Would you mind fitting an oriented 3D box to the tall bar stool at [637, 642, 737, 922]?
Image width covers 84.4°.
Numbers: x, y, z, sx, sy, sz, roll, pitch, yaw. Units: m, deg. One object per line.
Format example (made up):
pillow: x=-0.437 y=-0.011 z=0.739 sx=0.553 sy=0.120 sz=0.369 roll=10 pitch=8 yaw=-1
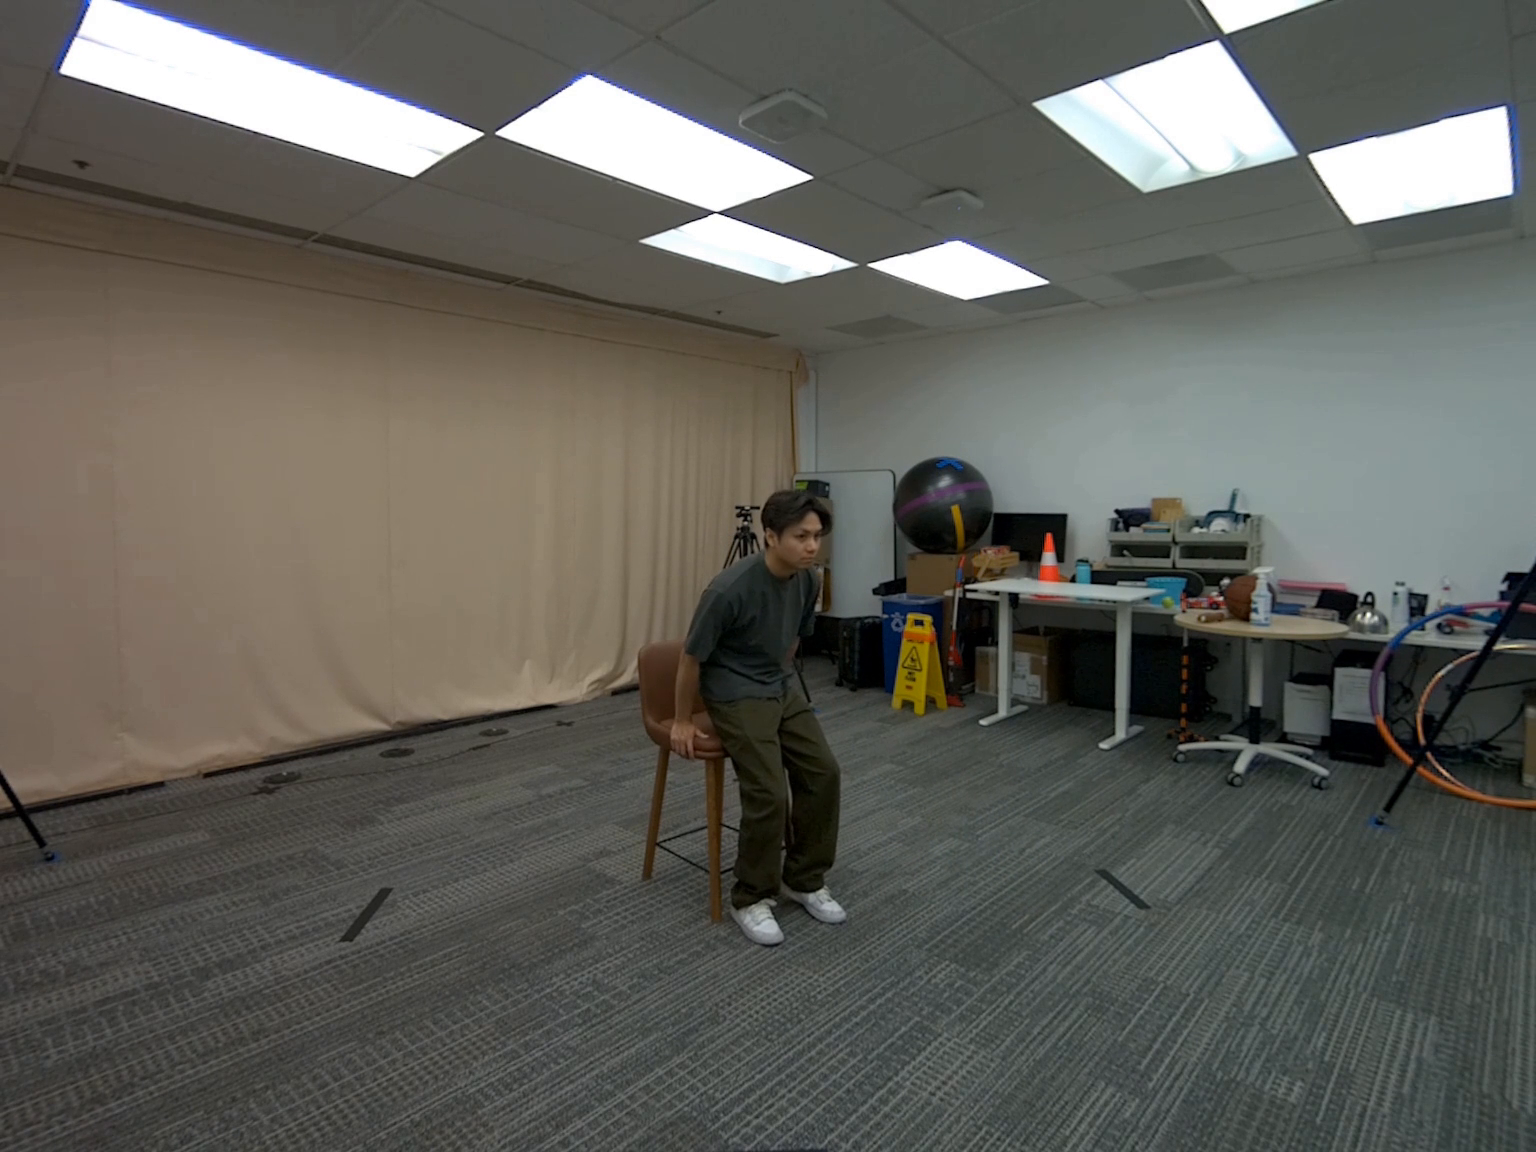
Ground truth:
tall bar stool: x=-0.194 y=0.698 z=3.094 sx=0.442 sy=0.888 sz=0.483 roll=-3 pitch=3 yaw=-43
